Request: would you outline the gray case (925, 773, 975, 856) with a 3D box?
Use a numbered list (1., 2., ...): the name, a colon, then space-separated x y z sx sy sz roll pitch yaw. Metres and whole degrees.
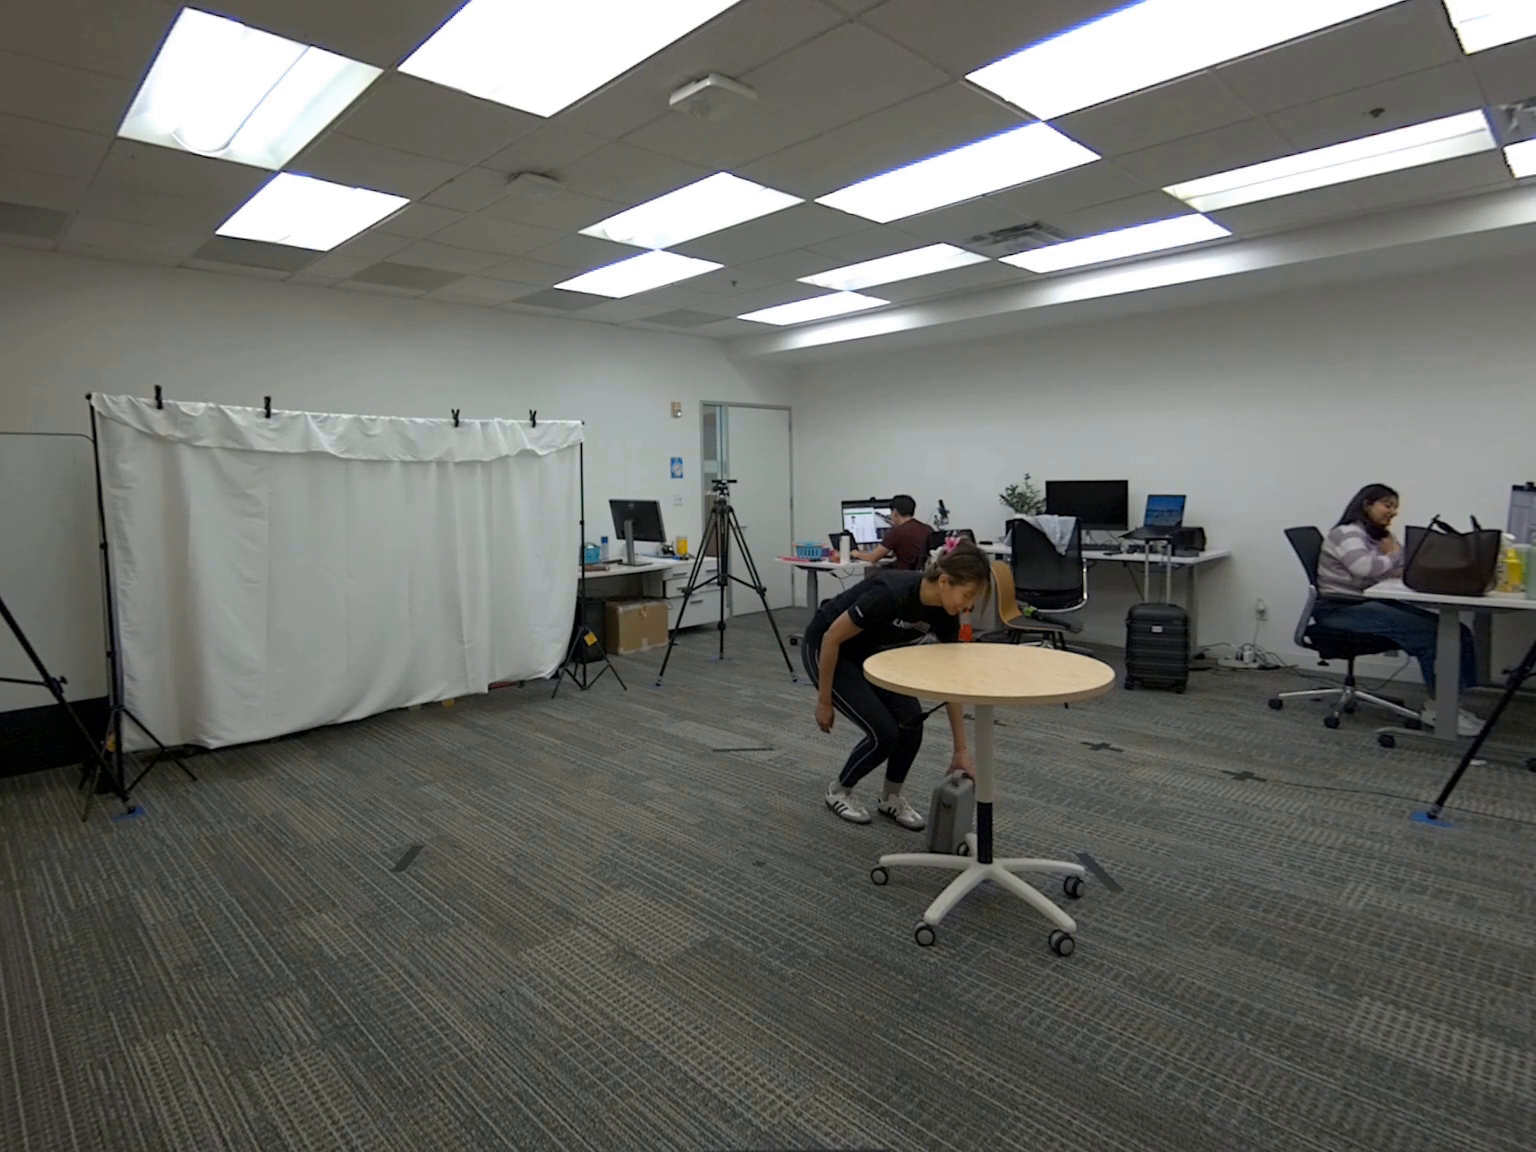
1. gray case: 0.697 0.890 3.236 0.108 0.259 0.251 12 11 33
